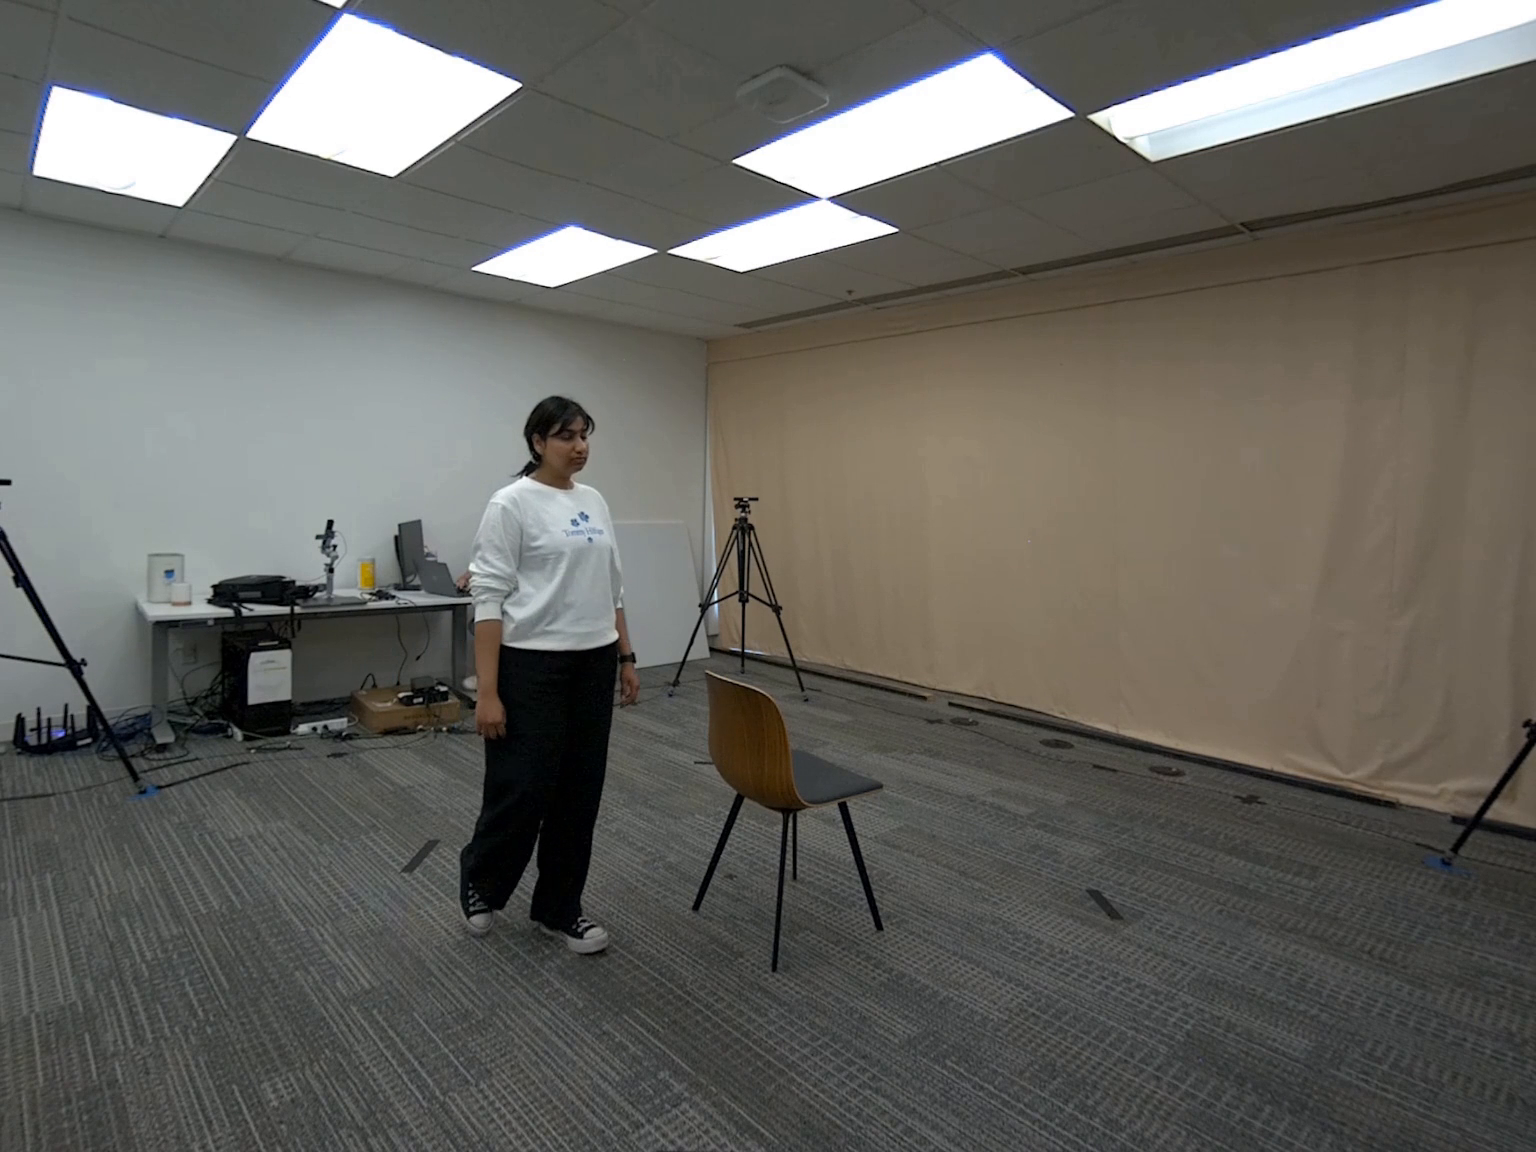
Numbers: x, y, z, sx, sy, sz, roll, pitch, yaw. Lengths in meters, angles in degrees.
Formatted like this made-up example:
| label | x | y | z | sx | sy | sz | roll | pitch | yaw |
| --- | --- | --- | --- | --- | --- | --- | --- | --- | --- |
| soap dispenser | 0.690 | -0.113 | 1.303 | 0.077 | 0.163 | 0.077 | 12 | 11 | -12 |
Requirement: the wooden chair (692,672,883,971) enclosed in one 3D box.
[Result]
| label | x | y | z | sx | sy | sz | roll | pitch | yaw |
| --- | --- | --- | --- | --- | --- | --- | --- | --- | --- |
| wooden chair | 0.068 | 0.716 | 2.766 | 0.513 | 0.873 | 0.490 | -7 | 8 | -37 |
